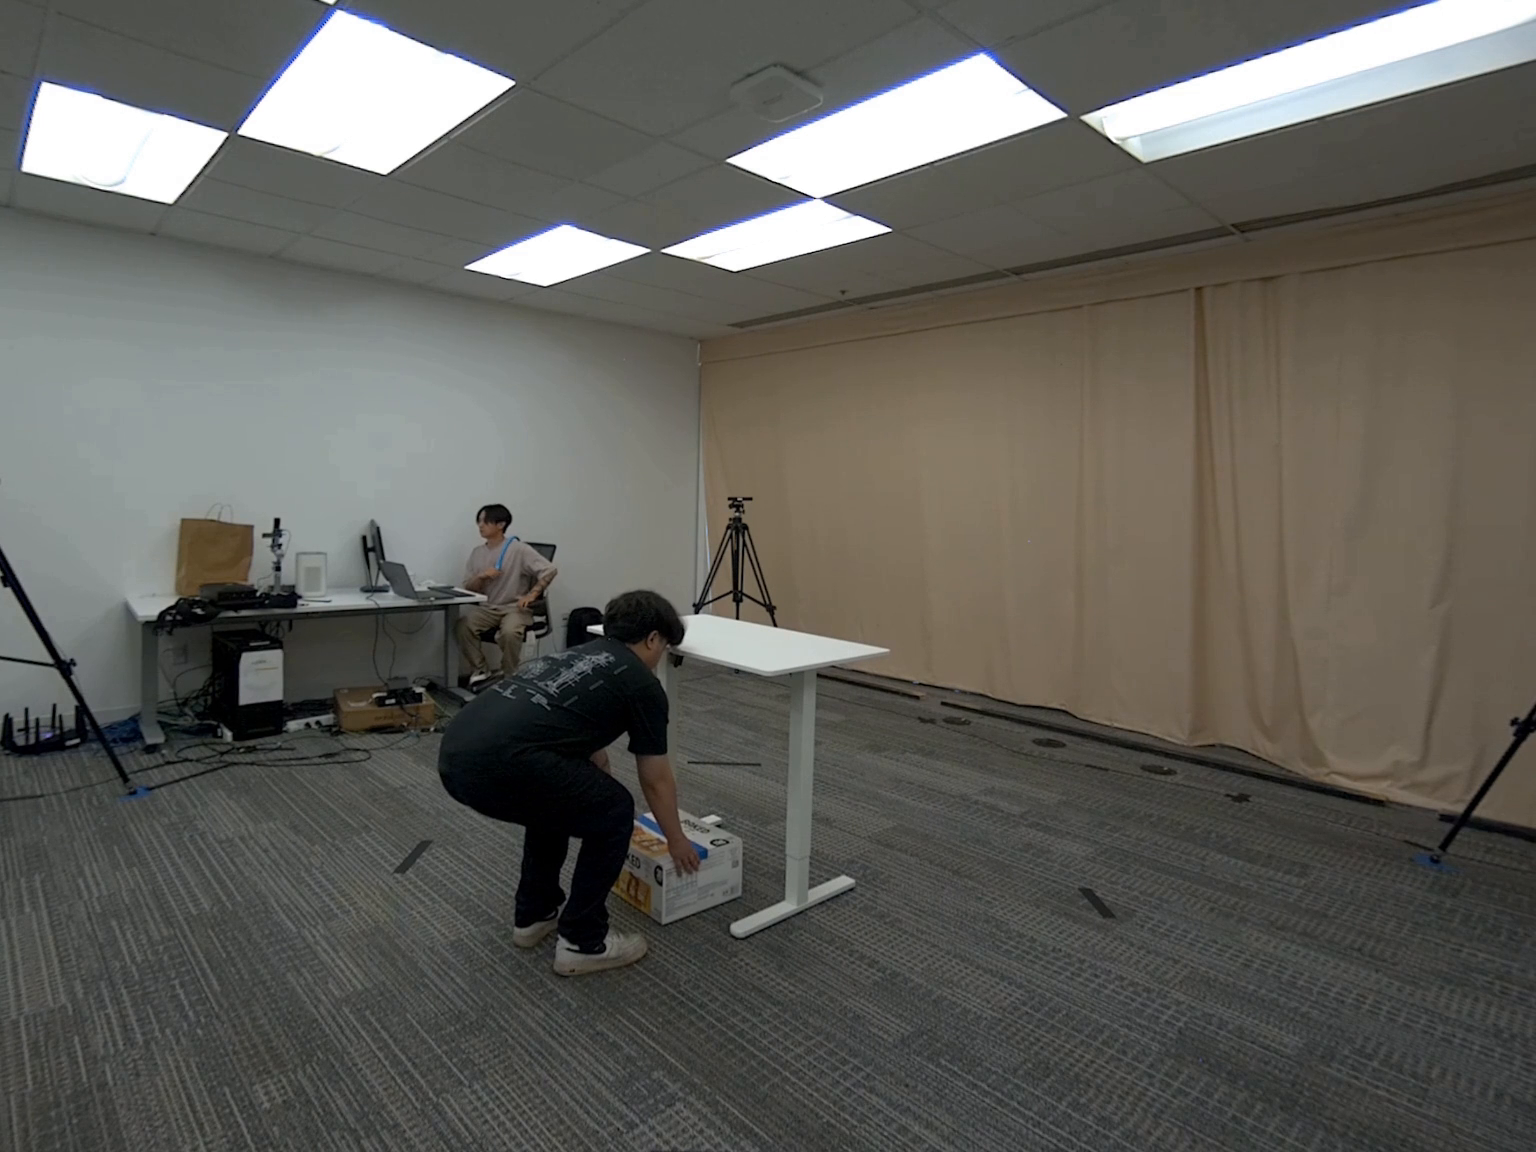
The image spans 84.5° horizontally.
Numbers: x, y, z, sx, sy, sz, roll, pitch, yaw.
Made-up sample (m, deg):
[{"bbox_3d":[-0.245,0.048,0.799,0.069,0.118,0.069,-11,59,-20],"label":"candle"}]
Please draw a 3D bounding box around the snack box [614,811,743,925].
[{"bbox_3d":[-0.355,1.012,2.976,0.333,0.205,0.415,-3,6,-41],"label":"snack box"}]
